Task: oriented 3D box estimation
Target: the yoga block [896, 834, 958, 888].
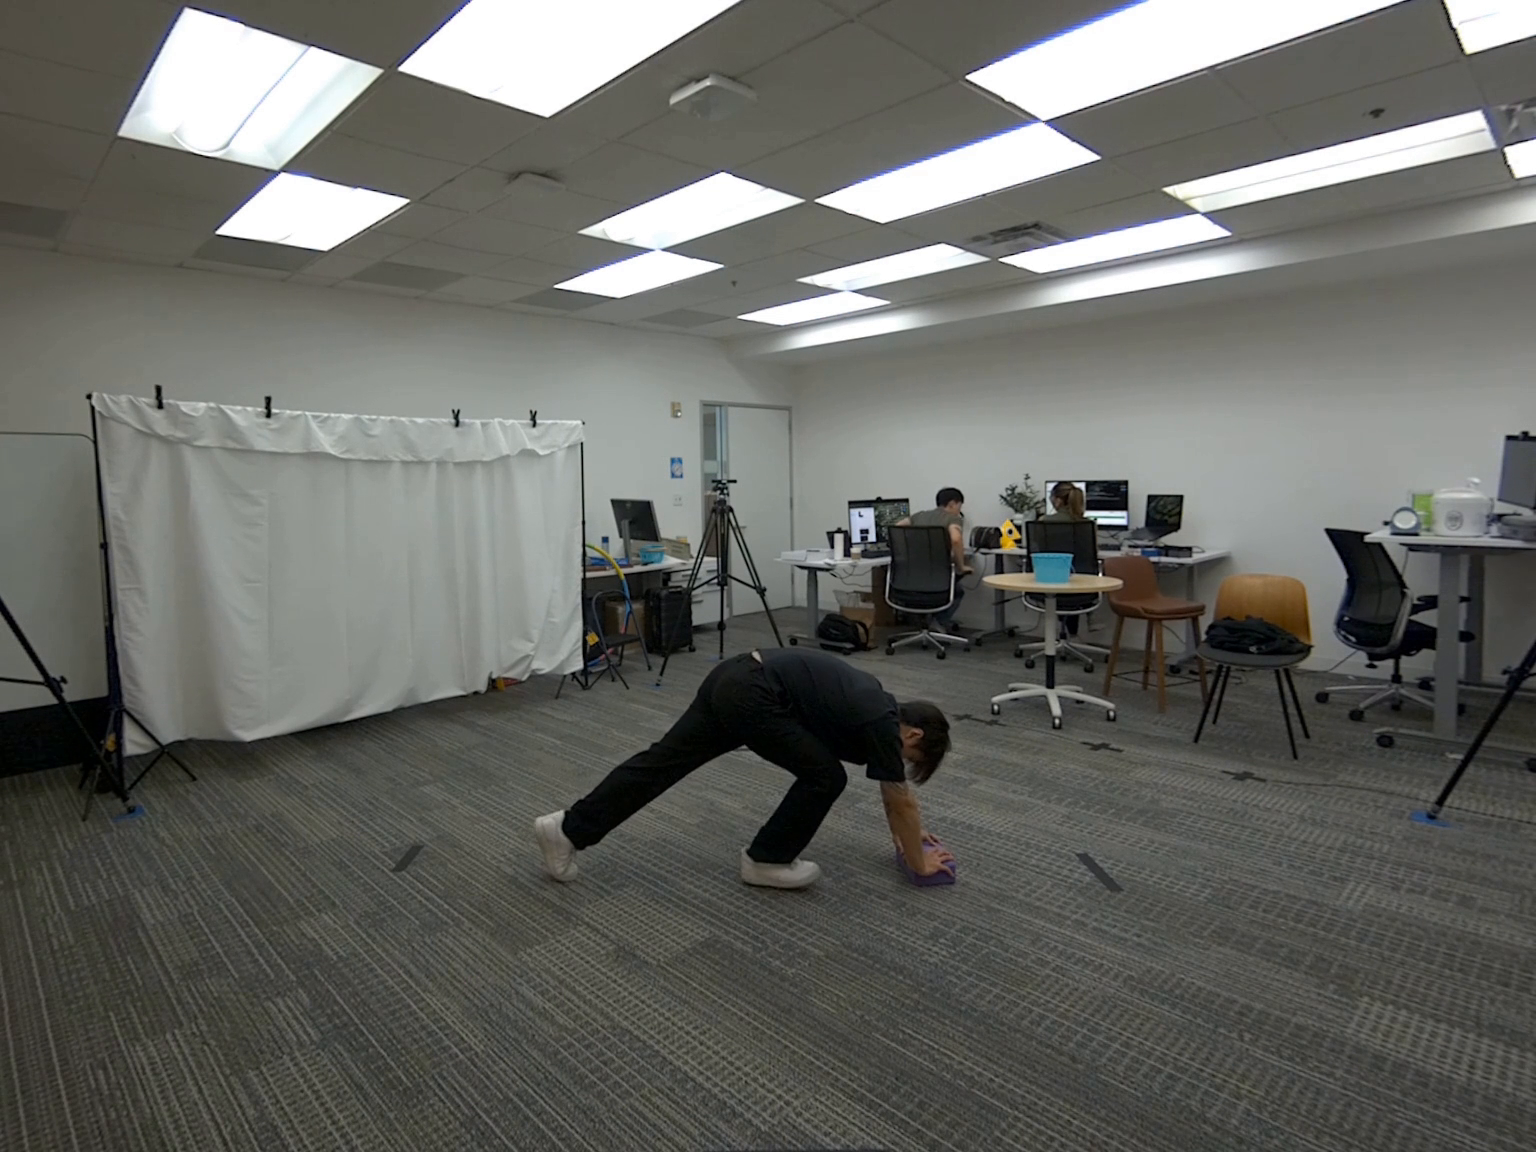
[{"bbox_3d":[0.559,1.012,3.029,0.148,0.076,0.231,-2,5,-6],"label":"yoga block"}]
